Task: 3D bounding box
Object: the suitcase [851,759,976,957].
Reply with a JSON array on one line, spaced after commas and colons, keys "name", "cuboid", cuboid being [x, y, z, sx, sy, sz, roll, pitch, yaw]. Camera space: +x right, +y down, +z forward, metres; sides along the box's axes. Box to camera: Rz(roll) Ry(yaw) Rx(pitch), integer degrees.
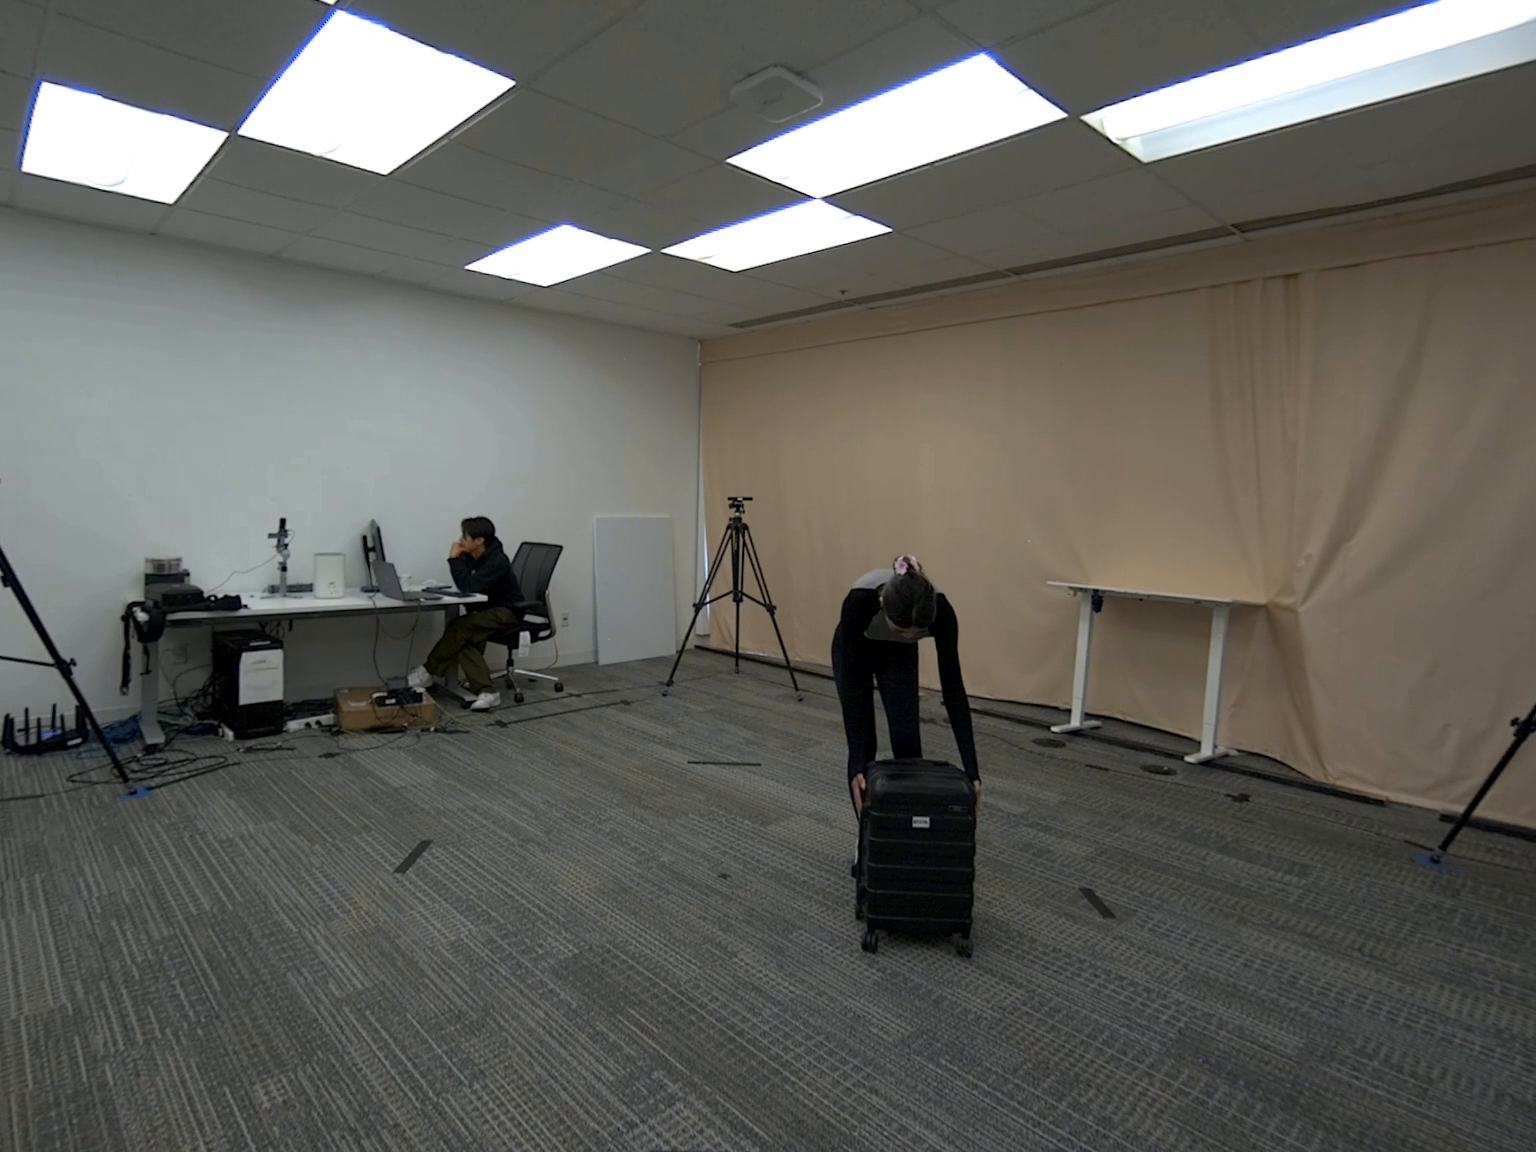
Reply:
[{"name": "suitcase", "cuboid": [0.470, 0.882, 2.716, 0.375, 0.548, 0.249, 2, 3, 0]}]
